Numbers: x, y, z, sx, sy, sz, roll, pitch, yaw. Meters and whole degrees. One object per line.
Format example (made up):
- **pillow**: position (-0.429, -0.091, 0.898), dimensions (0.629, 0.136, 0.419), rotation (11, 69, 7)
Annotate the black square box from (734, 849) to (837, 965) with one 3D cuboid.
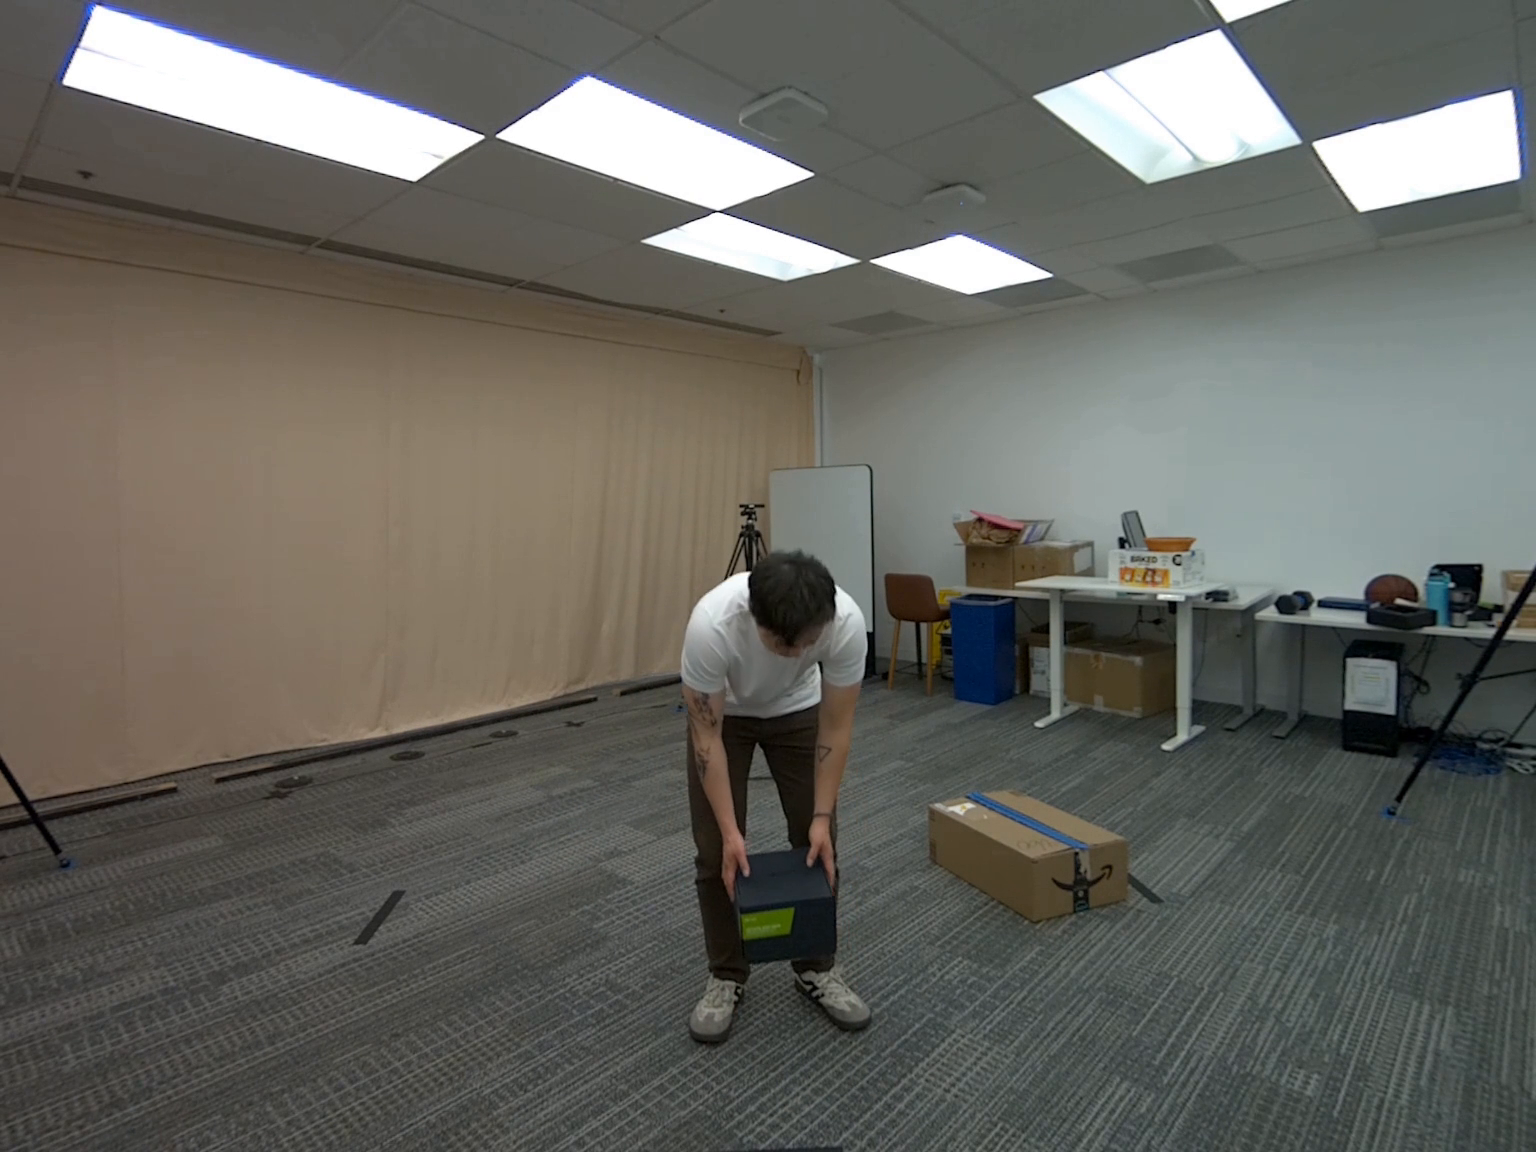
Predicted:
- **black square box**: position (0.035, 0.807, 2.079), dimensions (0.227, 0.154, 0.220), rotation (-5, 13, -6)
